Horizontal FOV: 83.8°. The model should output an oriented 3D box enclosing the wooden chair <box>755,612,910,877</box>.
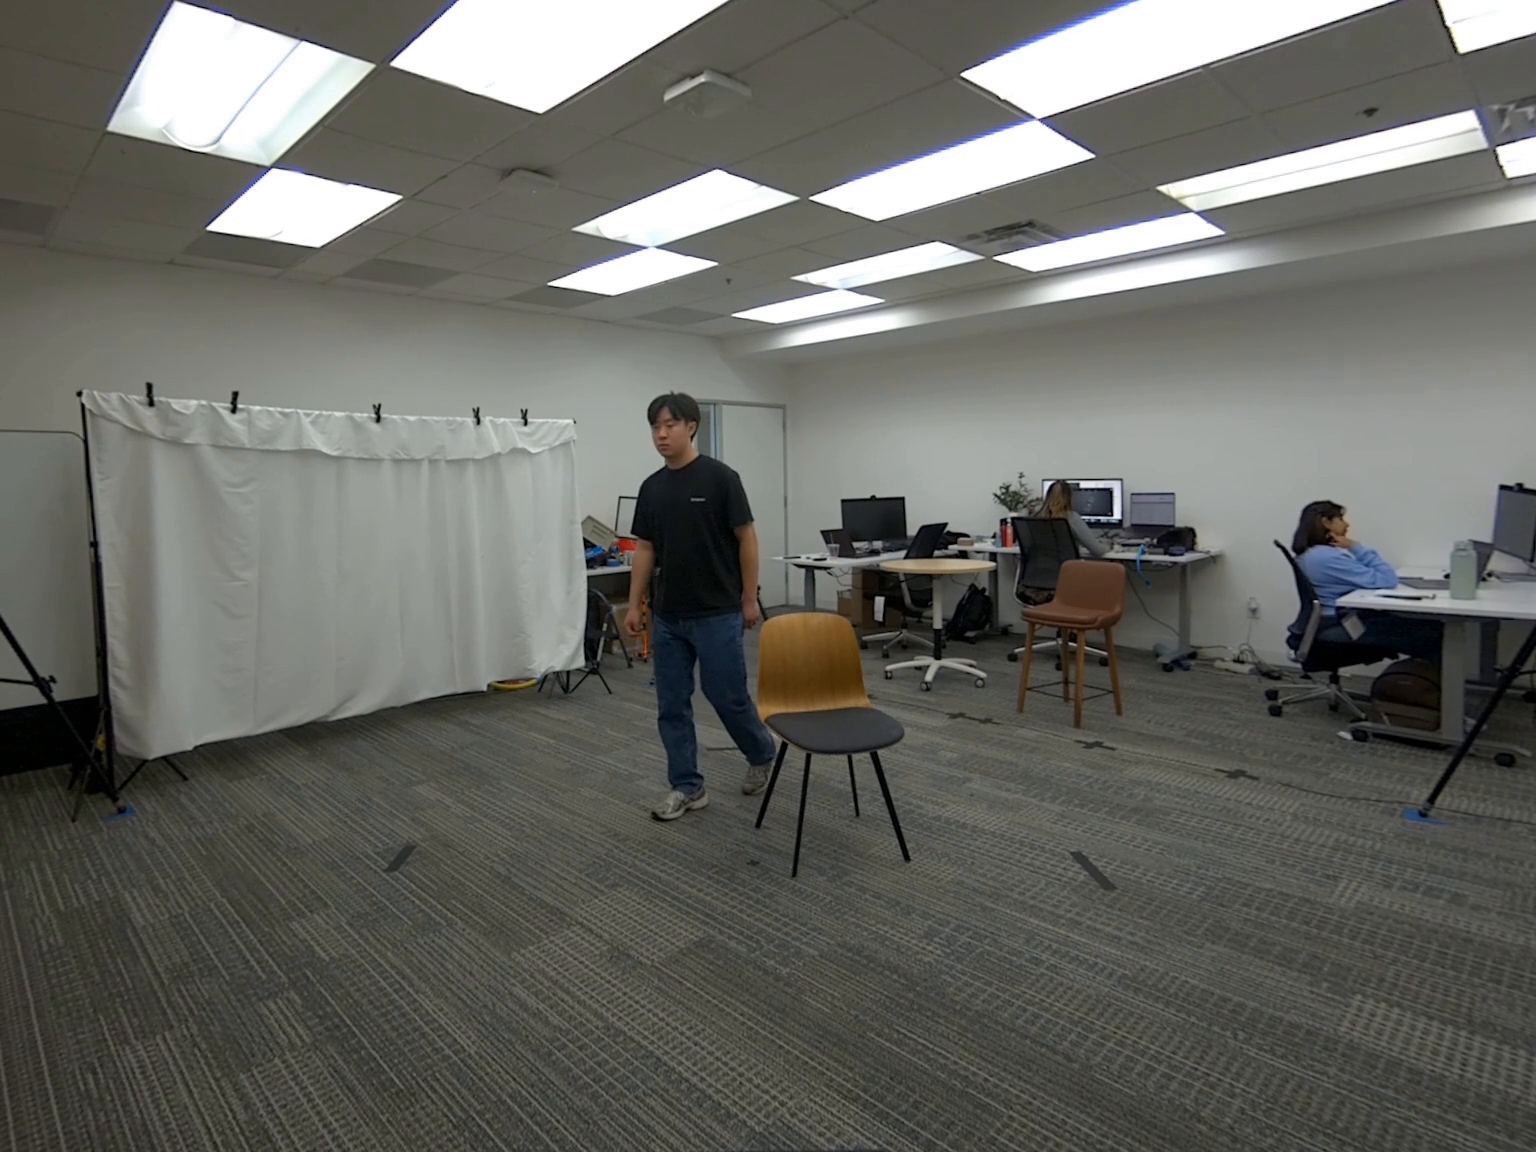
[{"bbox_3d":[0.228,0.599,3.217,0.471,0.878,0.531,-2,0,-17],"label":"wooden chair"}]
